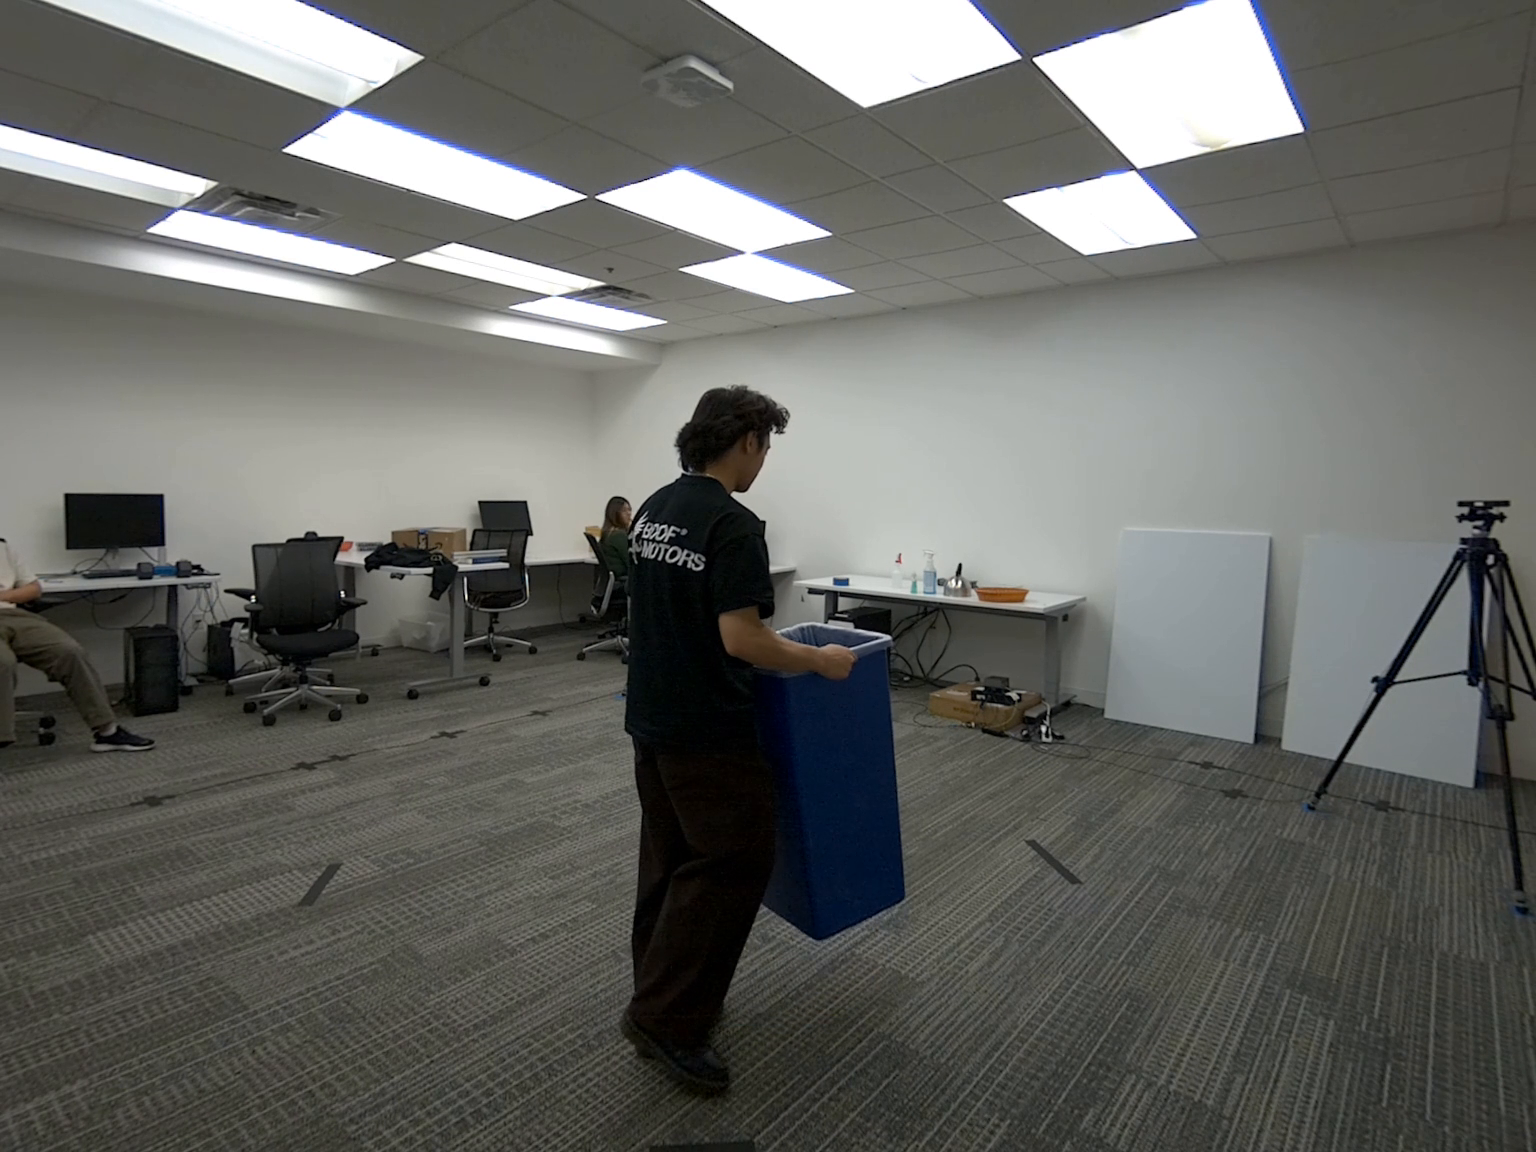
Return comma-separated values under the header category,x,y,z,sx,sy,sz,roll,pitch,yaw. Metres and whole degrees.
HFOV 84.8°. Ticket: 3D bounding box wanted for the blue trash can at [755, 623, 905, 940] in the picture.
category,x,y,z,sx,sy,sz,roll,pitch,yaw
blue trash can,0.131,0.528,2.277,0.369,0.710,0.385,-10,6,-32
